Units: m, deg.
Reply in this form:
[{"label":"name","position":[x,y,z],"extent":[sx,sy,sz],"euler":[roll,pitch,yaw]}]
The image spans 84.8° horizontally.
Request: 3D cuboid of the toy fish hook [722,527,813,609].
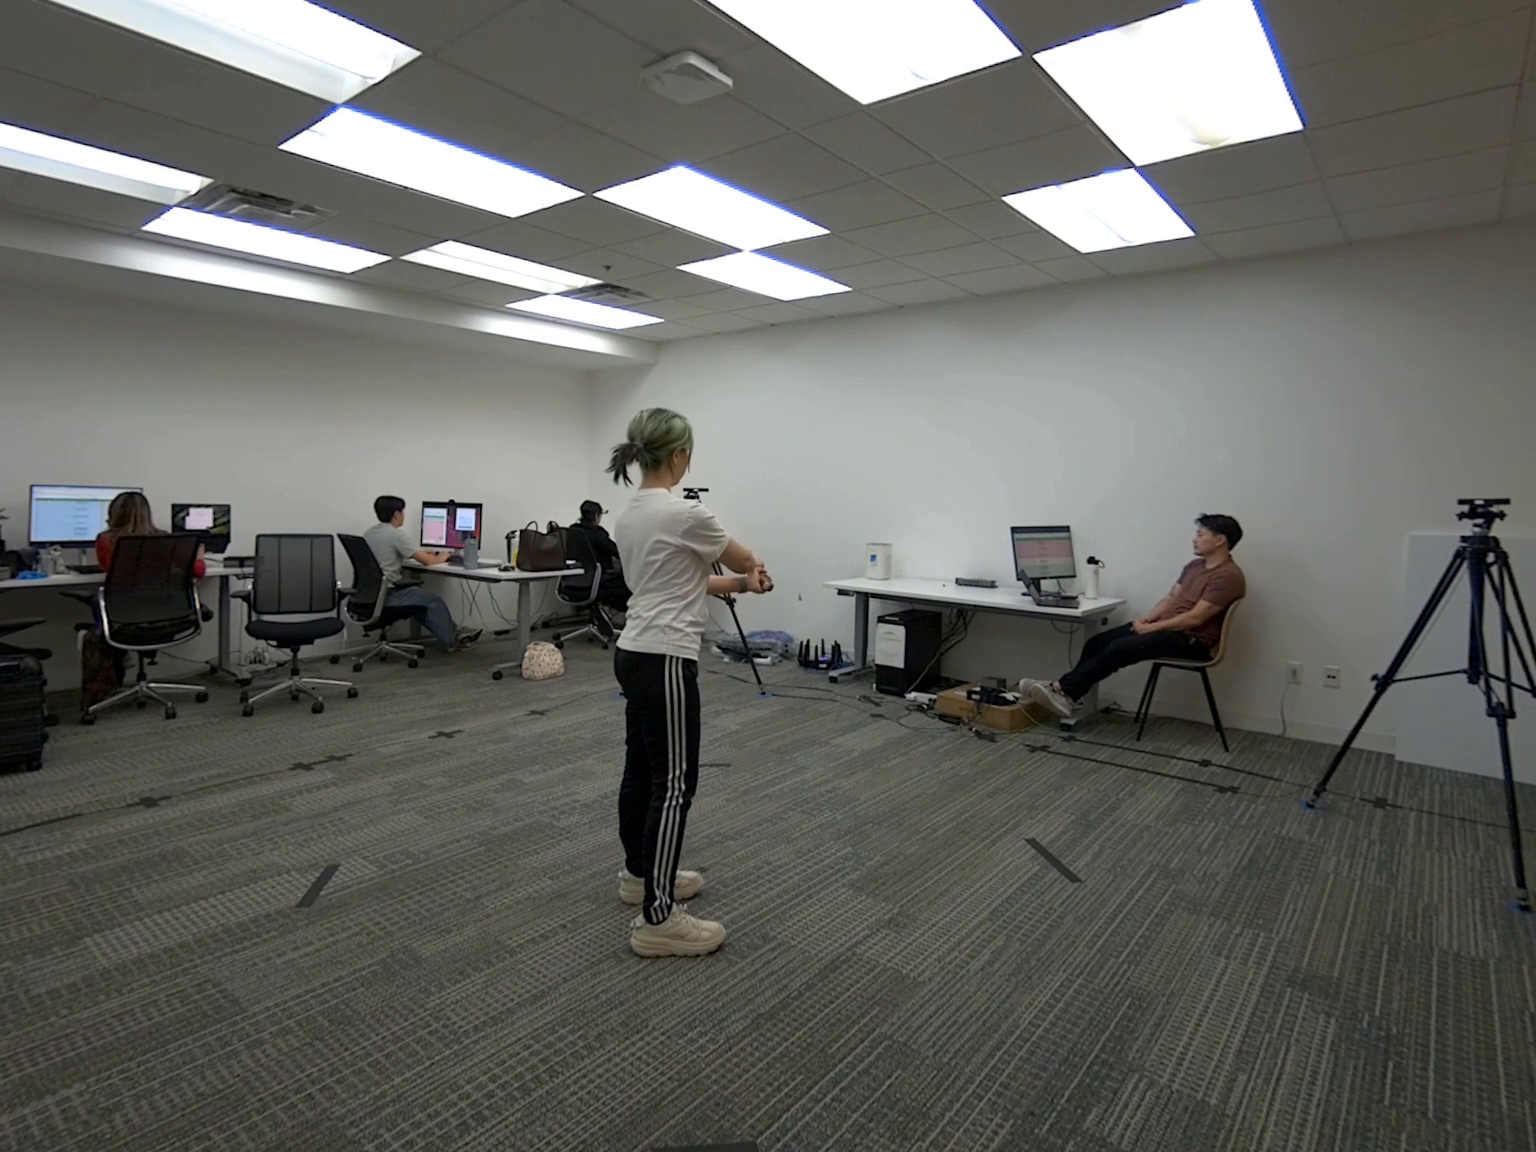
[{"label":"toy fish hook","position":[-0.047,-0.050,3.179],"extent":[0.217,0.048,0.527],"euler":[19,16,-32]}]
